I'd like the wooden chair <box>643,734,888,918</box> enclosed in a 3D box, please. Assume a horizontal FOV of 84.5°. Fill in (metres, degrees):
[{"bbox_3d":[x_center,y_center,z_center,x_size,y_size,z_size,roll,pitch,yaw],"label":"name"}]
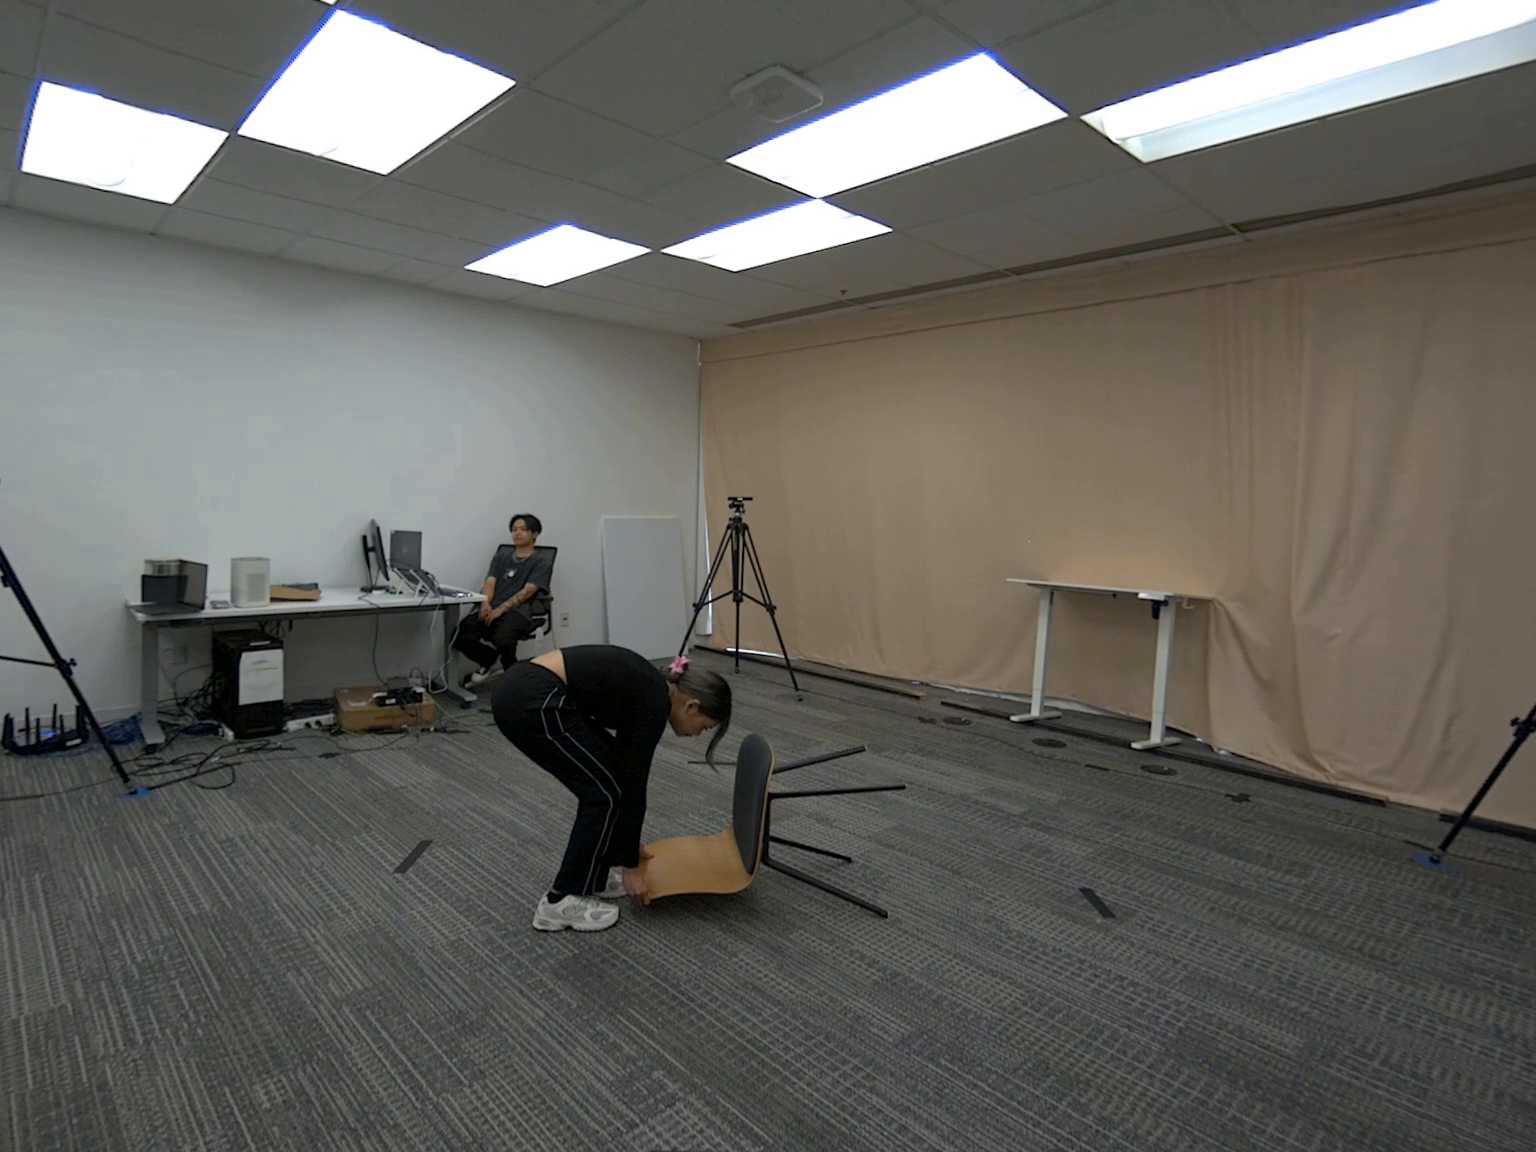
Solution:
[{"bbox_3d":[-0.036,0.842,2.968,0.870,0.522,0.483,2,4,-10],"label":"wooden chair"}]
